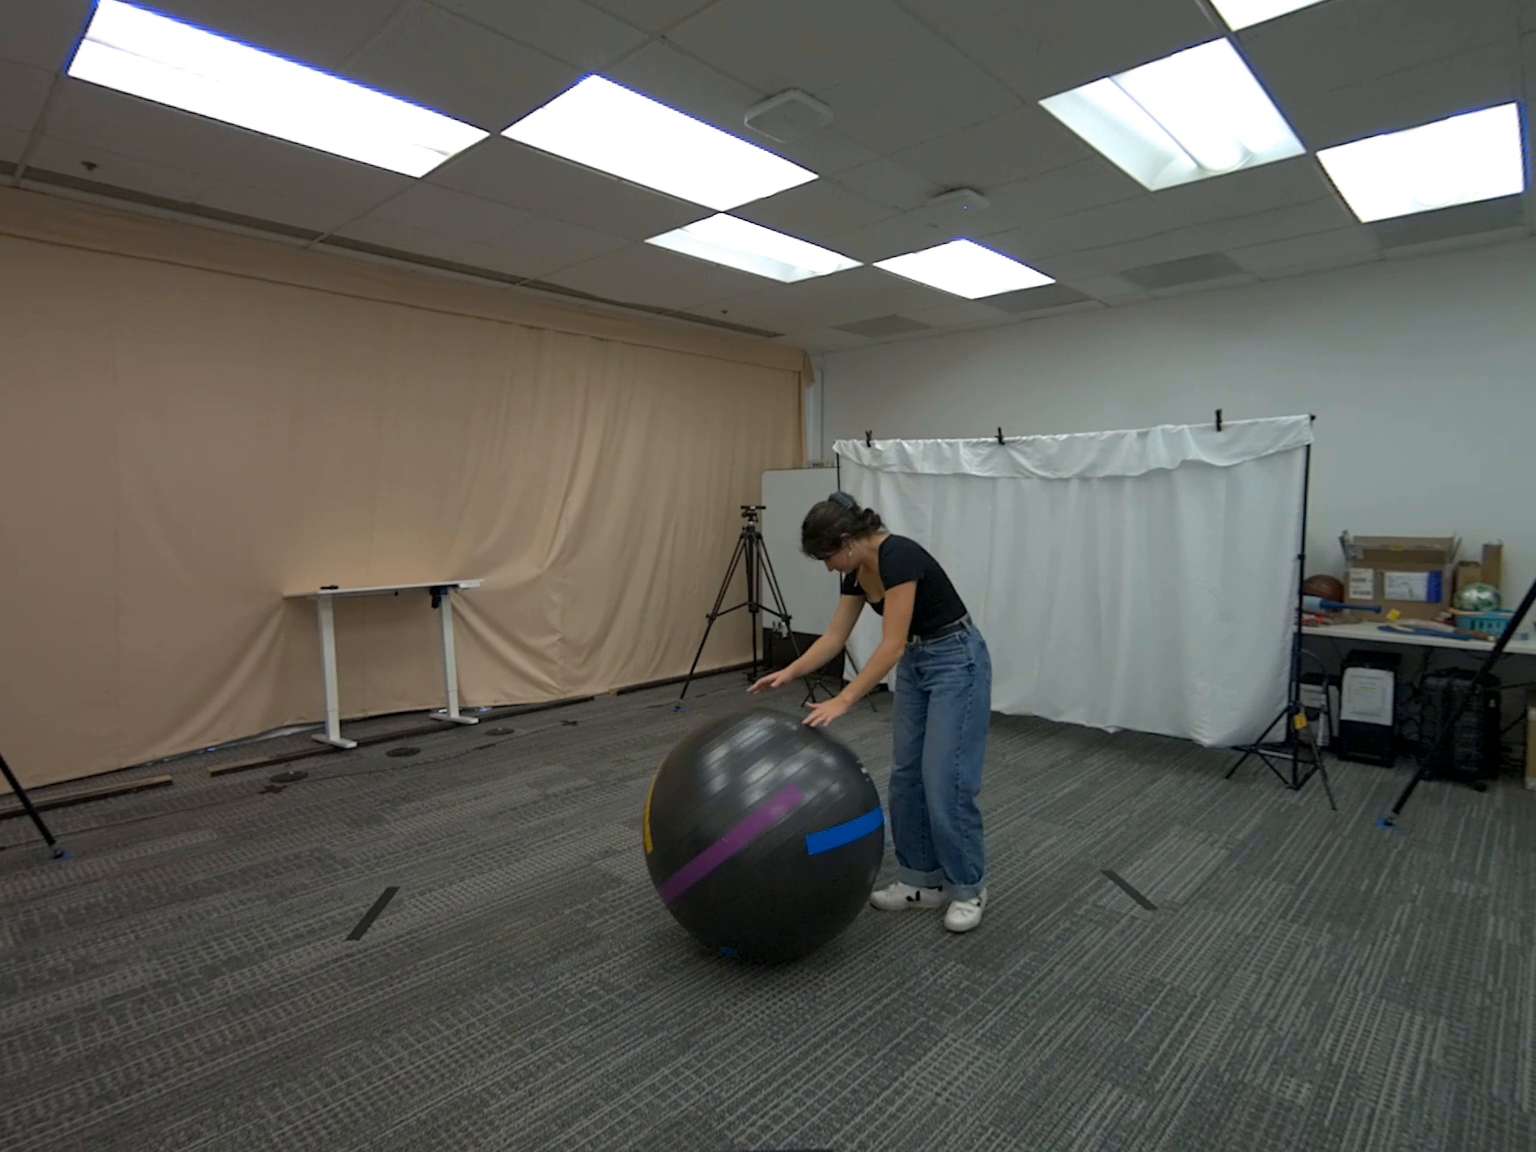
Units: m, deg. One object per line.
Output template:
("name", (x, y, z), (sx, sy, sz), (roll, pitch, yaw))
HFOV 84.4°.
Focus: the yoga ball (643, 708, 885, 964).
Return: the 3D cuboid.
("yoga ball", (-0.010, 0.803, 2.663), (0.757, 0.756, 0.760), (0, 4, -2))
